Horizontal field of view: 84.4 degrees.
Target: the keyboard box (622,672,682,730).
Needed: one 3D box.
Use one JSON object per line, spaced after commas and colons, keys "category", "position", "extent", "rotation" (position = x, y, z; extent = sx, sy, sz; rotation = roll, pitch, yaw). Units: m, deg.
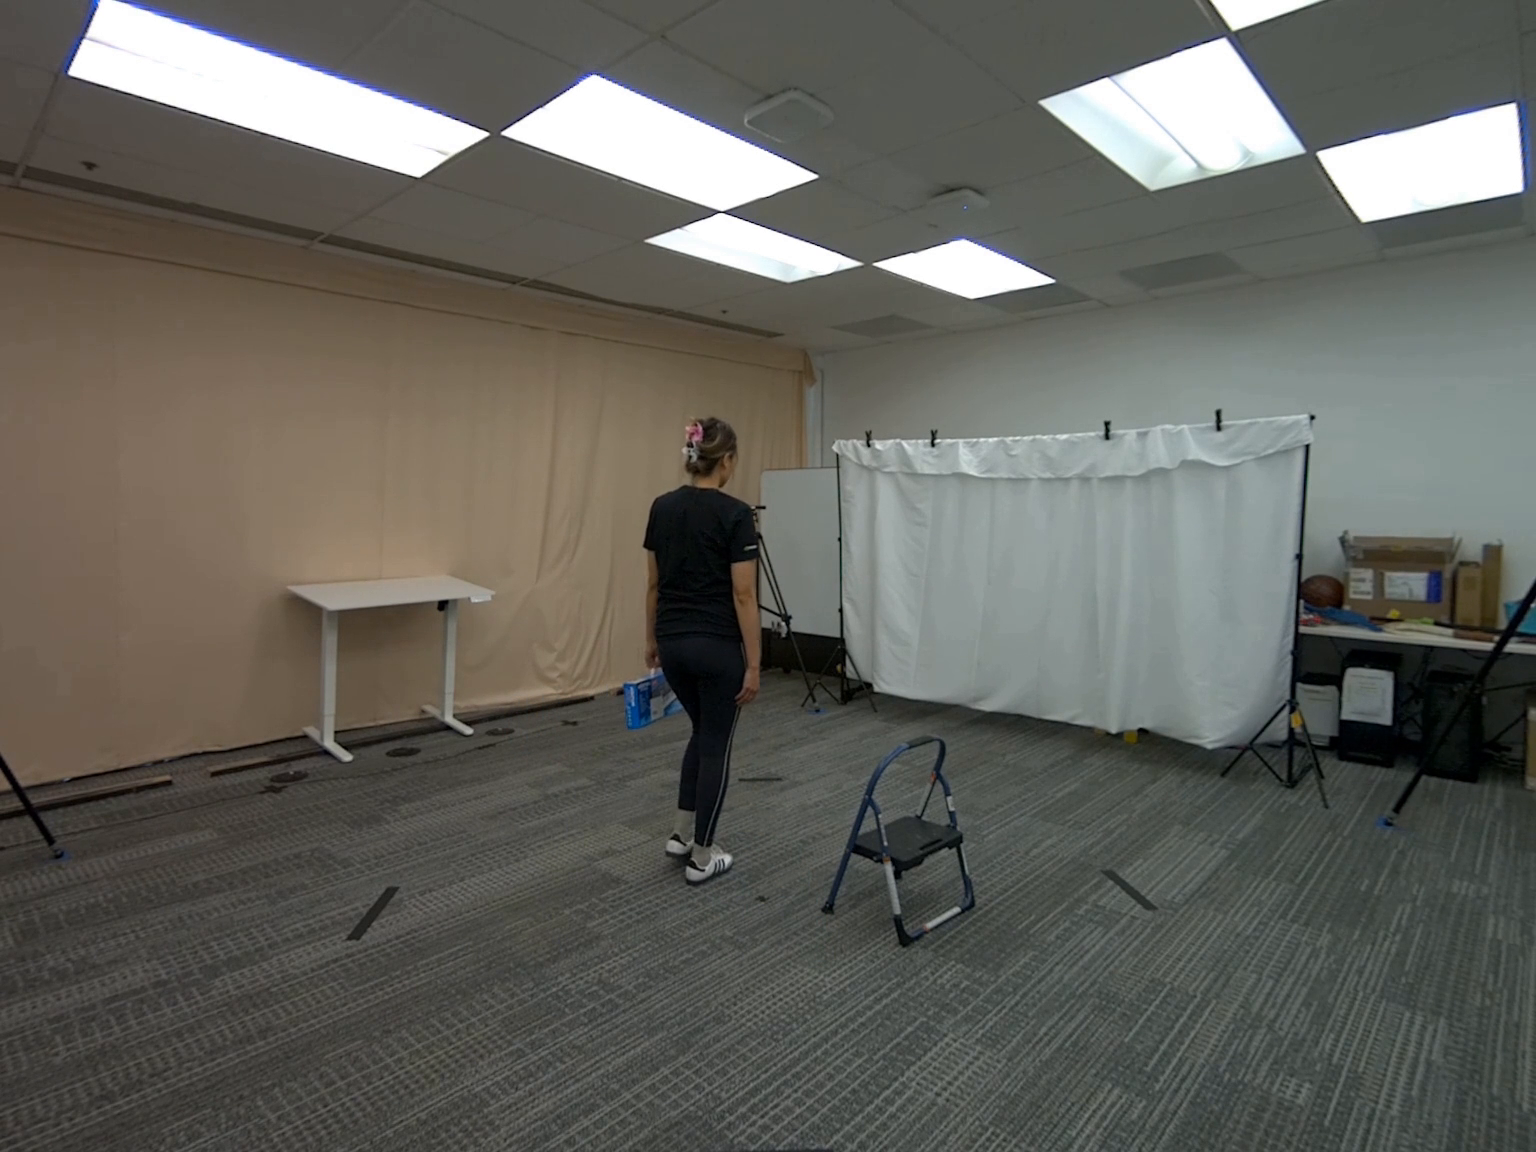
{"category": "keyboard box", "position": [-0.435, 0.478, 3.382], "extent": [0.060, 0.176, 0.427], "rotation": [-5, 0, 20]}
